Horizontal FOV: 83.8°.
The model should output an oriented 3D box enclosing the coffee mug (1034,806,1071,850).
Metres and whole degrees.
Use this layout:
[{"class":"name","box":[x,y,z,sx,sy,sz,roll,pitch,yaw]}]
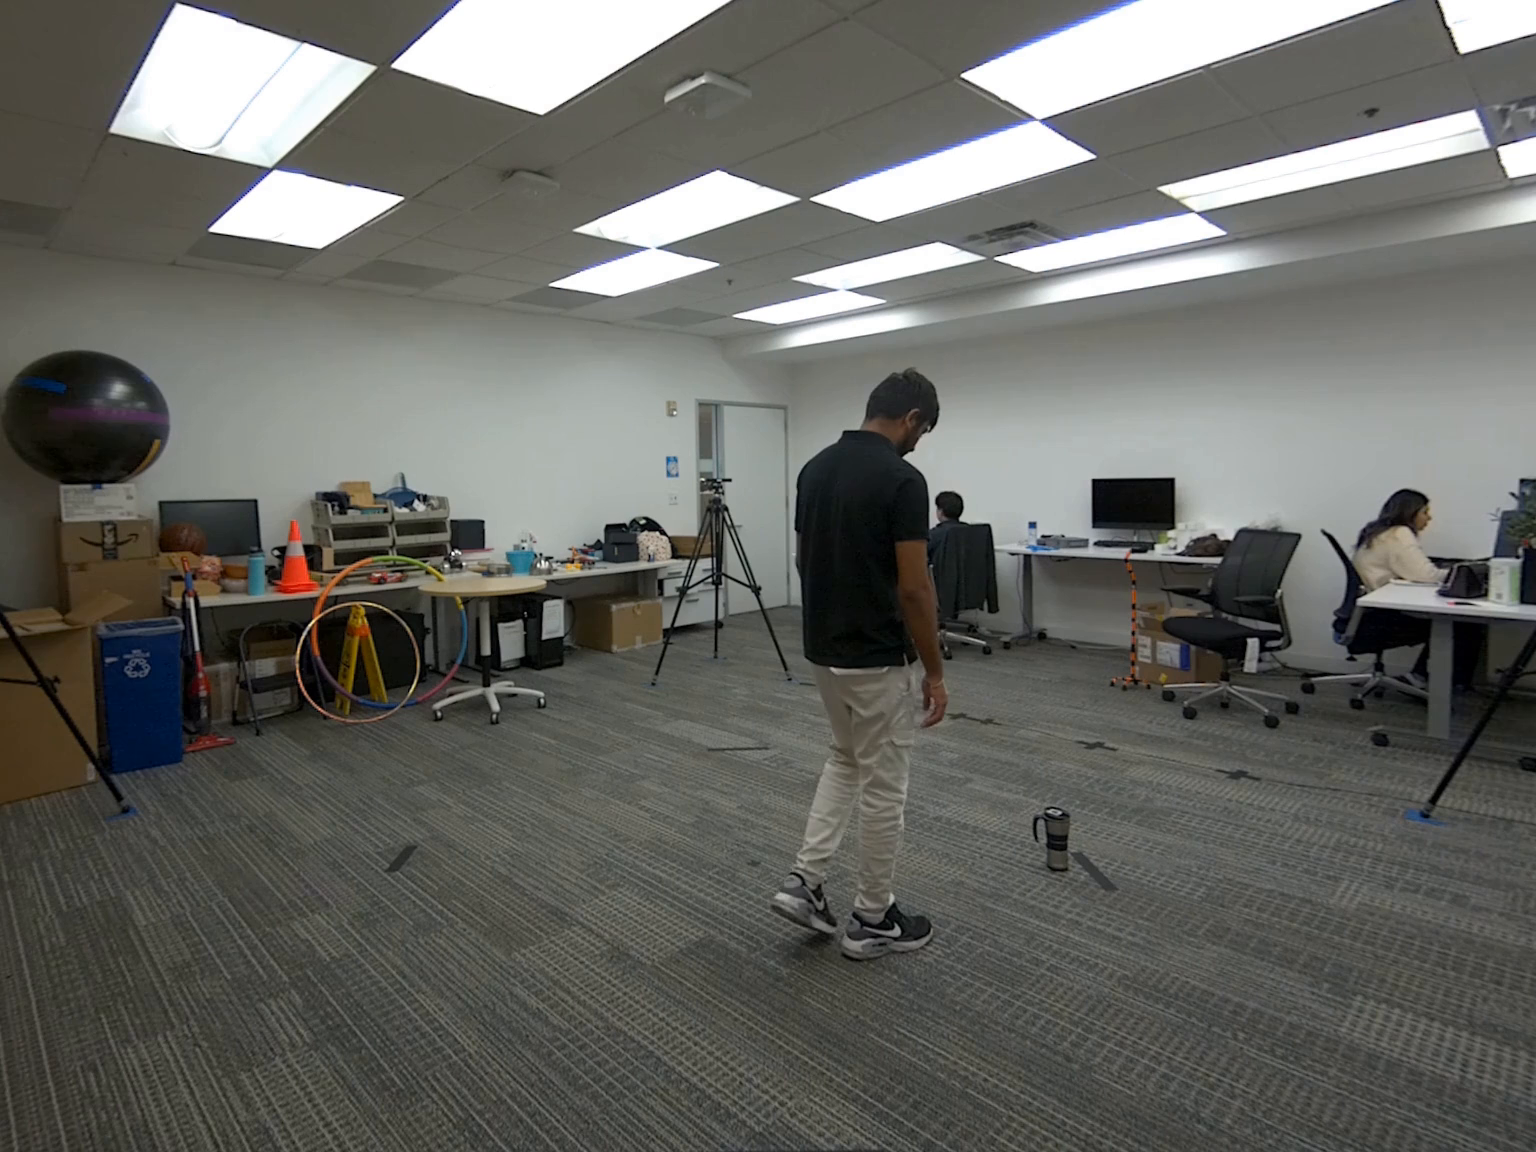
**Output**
[{"class":"coffee mug","box":[1.017,0.936,3.039,0.126,0.201,0.086,9,13,43]}]
